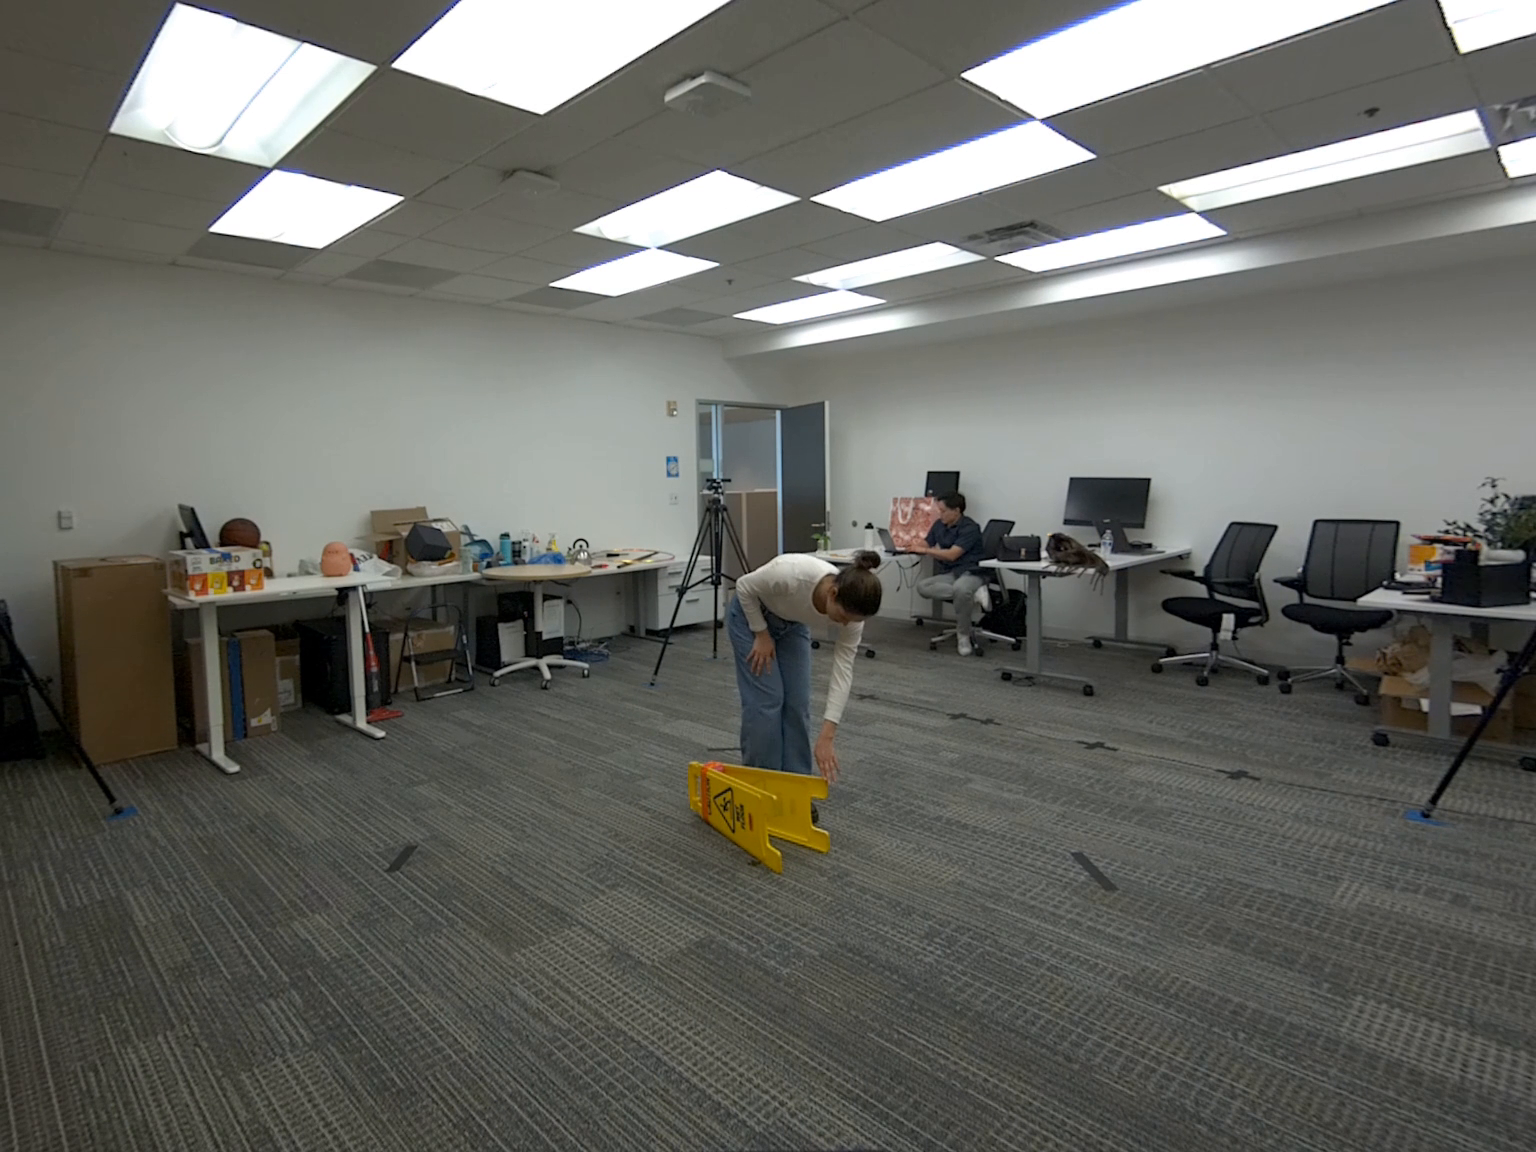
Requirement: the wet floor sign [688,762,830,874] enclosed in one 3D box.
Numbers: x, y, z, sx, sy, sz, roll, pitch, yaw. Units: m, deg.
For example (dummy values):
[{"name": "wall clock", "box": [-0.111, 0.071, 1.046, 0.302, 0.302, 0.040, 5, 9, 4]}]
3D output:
[{"name": "wet floor sign", "box": [-0.098, 0.890, 3.334, 0.282, 0.281, 0.666, -5, 6, -43]}]
